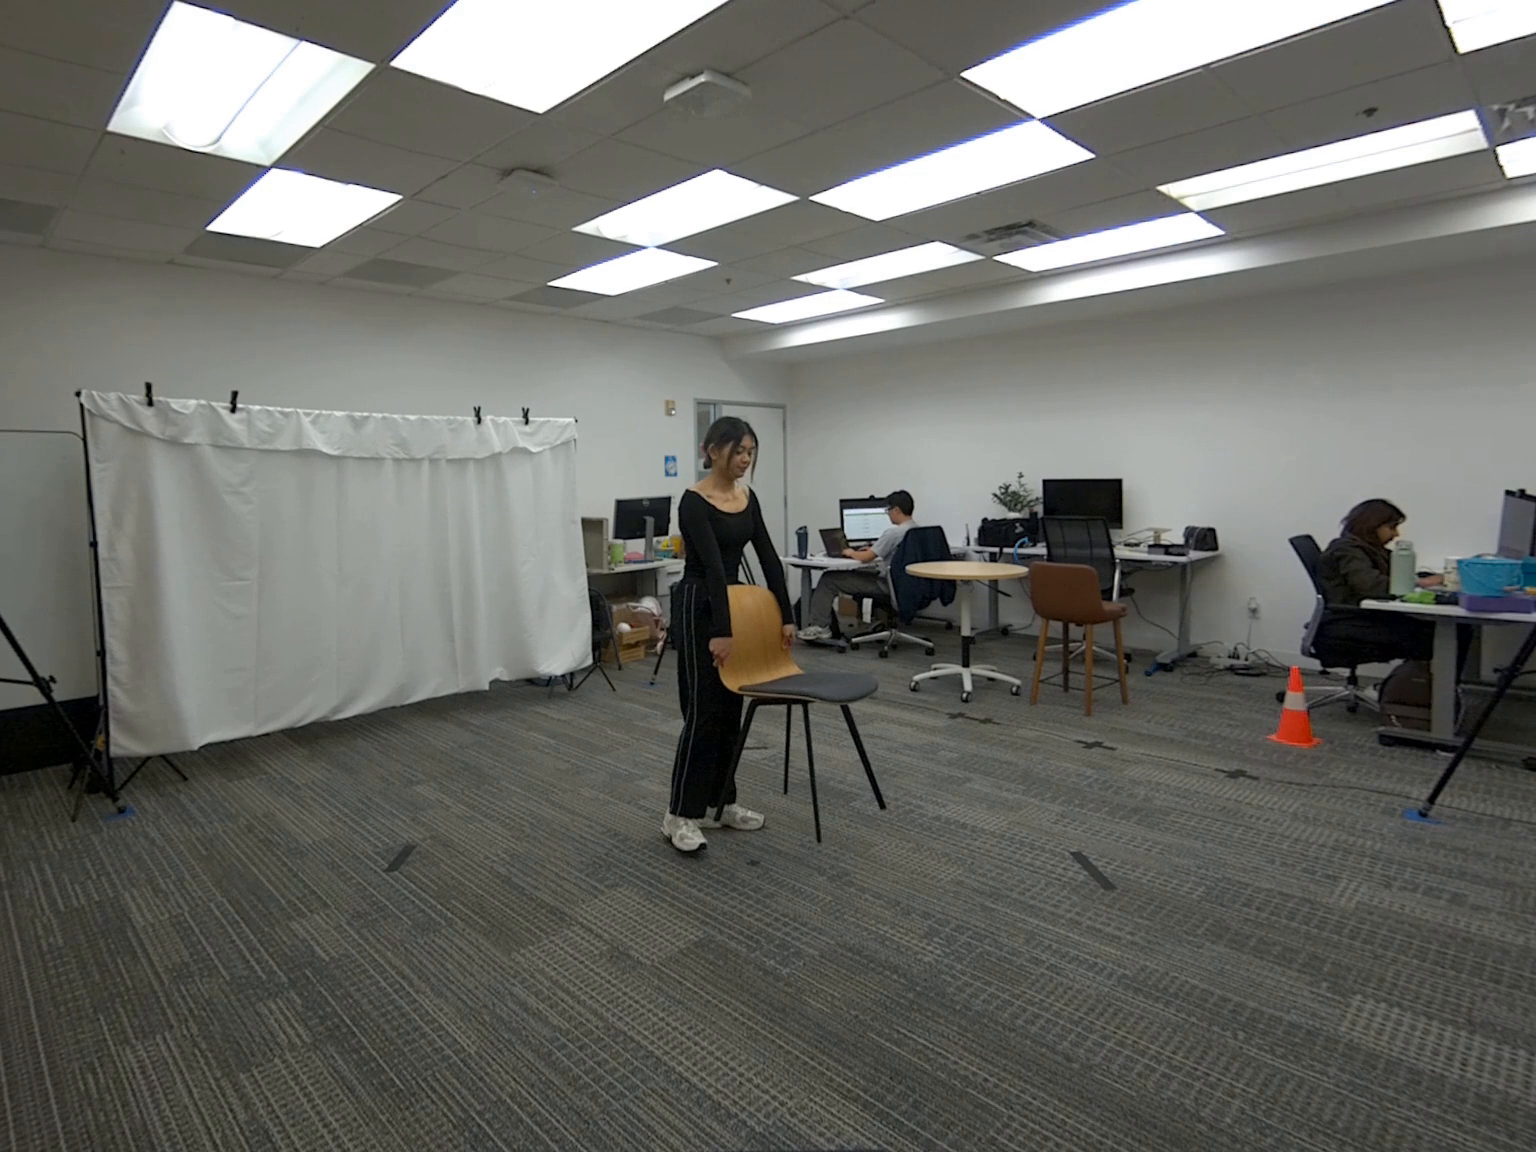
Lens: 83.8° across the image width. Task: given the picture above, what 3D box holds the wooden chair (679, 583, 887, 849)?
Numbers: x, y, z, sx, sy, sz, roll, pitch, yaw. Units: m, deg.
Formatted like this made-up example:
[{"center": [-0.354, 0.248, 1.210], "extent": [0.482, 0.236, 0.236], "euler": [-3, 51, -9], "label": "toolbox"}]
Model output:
[{"center": [0.106, 0.449, 3.119], "extent": [0.535, 0.882, 0.465], "euler": [-10, -6, 37], "label": "wooden chair"}]
